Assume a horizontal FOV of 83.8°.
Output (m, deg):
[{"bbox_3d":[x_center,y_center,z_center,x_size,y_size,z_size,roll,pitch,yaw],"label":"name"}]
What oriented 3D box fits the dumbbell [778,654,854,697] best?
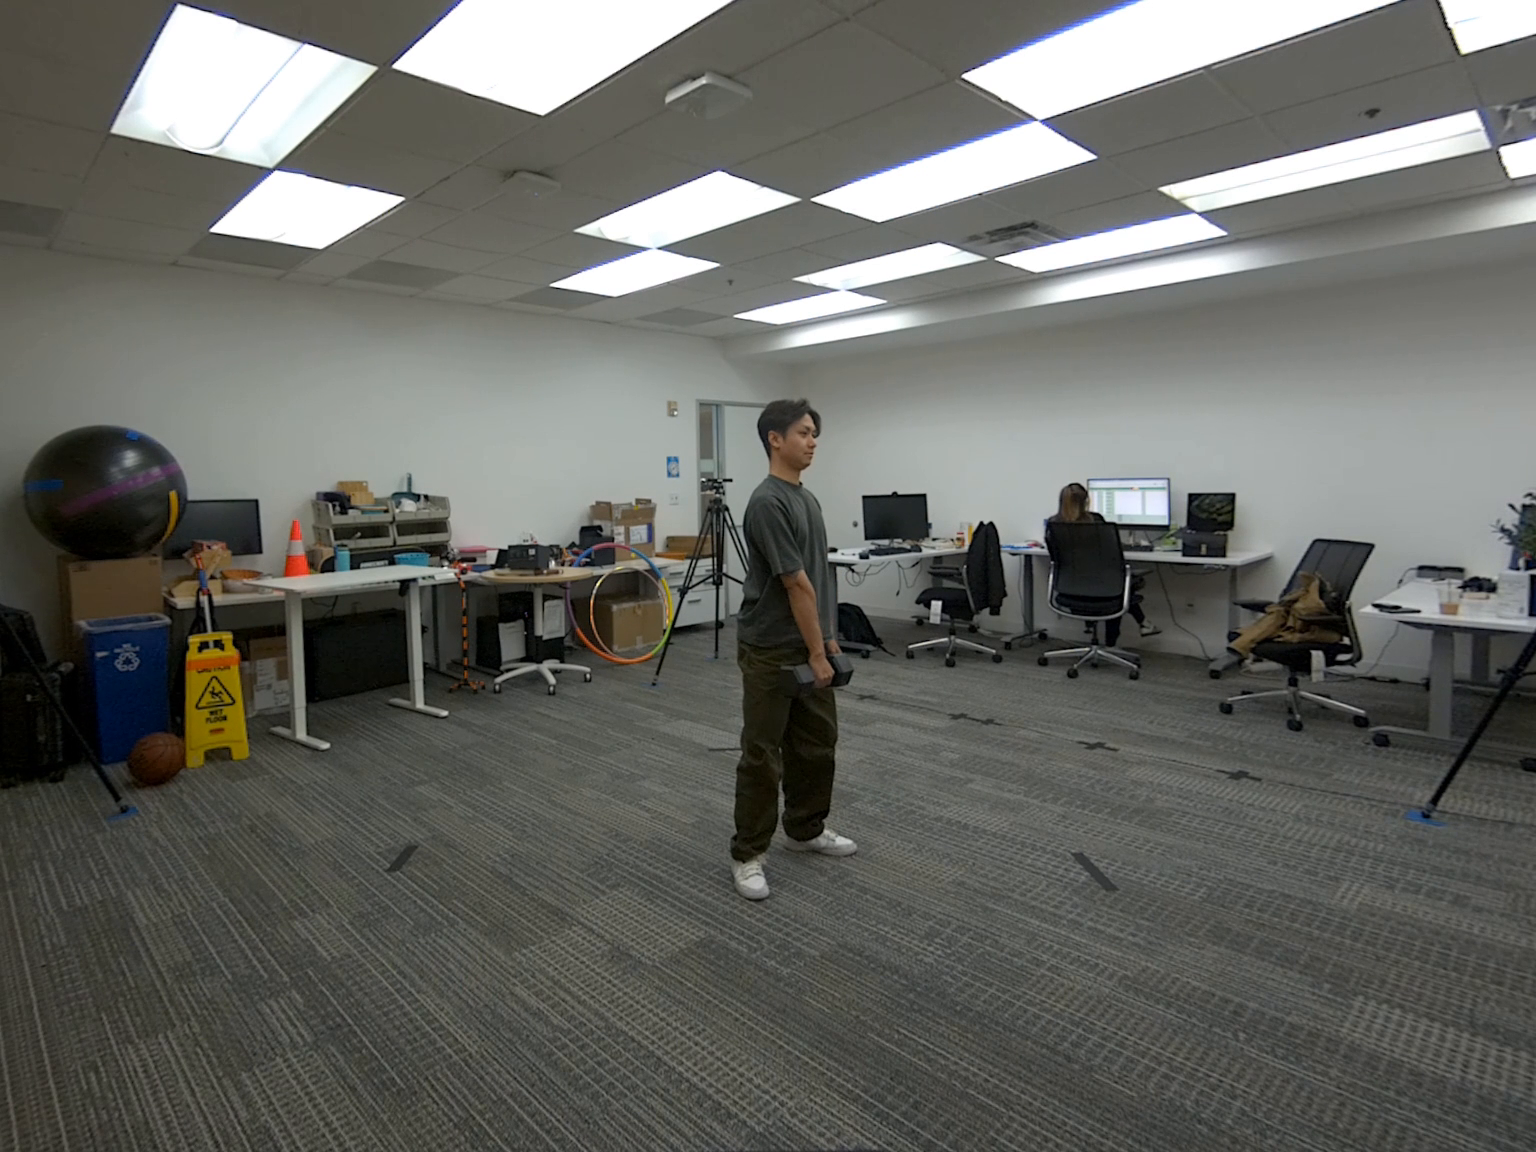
[{"bbox_3d":[0.156,0.338,2.909,0.286,0.121,0.113,-8,35,-47],"label":"dumbbell"}]
